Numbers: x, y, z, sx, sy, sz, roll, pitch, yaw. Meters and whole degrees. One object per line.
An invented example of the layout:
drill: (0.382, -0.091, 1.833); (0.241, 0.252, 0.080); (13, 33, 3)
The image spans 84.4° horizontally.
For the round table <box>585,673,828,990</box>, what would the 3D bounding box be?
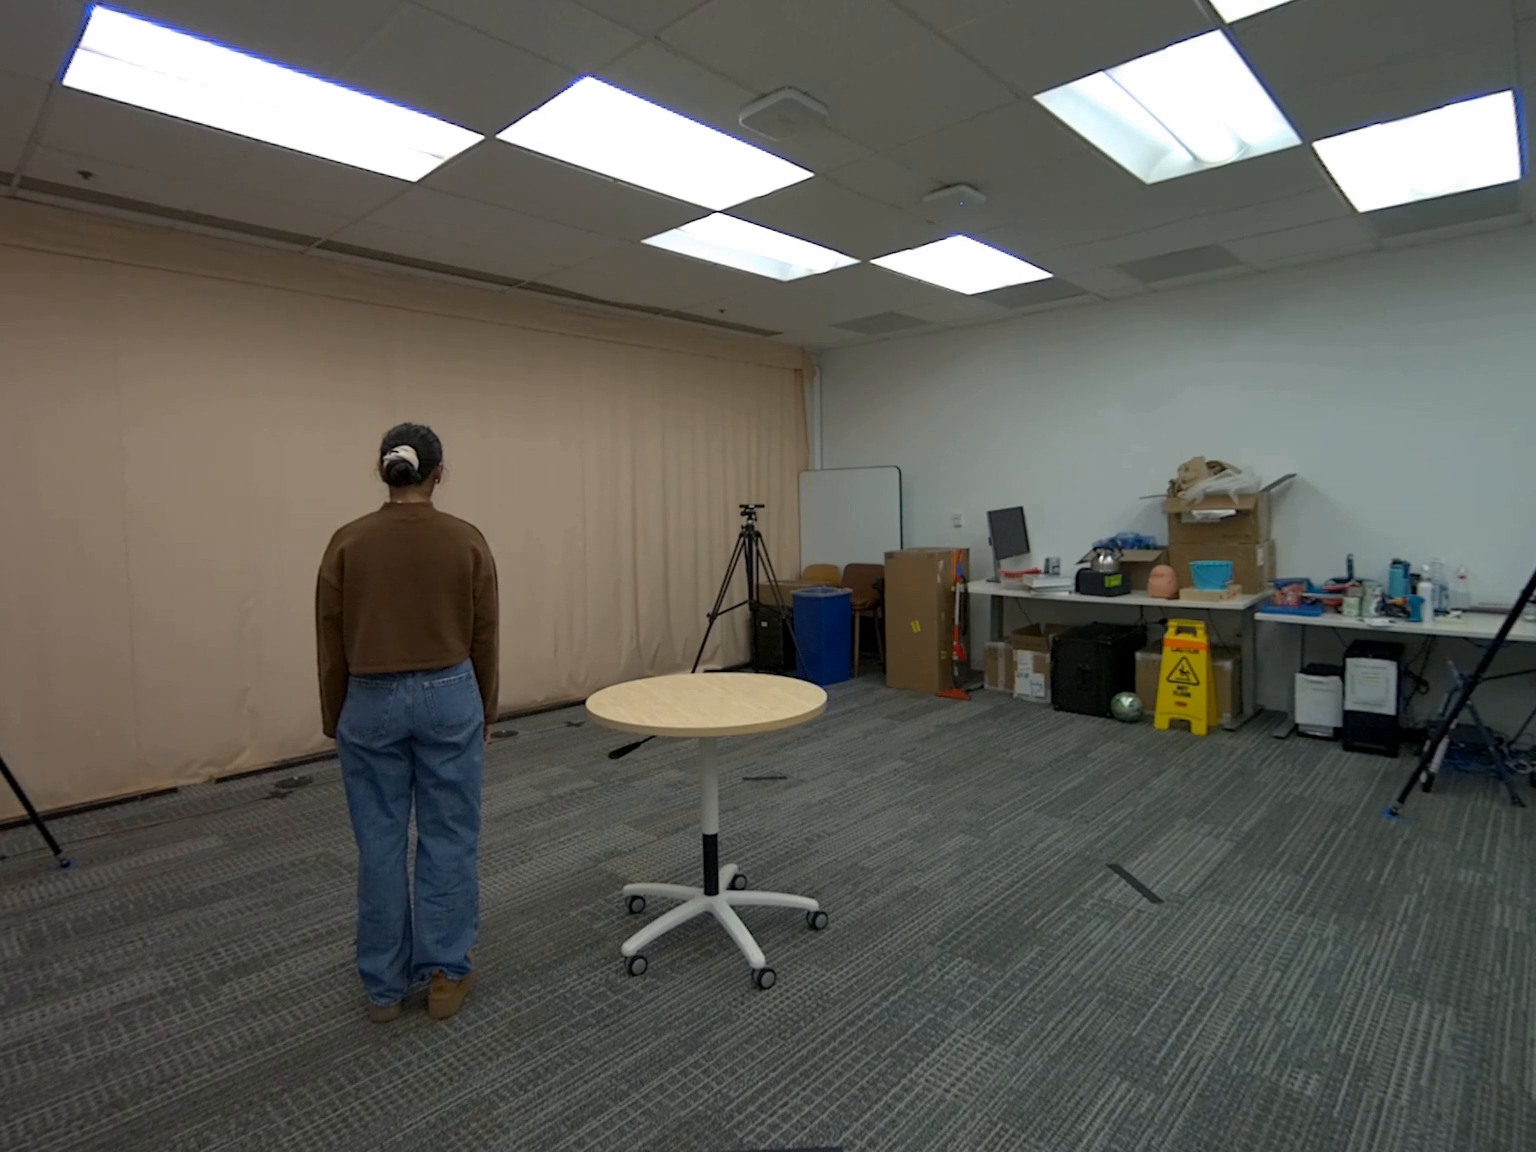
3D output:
round table: (-0.184, 0.782, 2.706); (0.763, 0.792, 0.767); (-2, 4, -2)
